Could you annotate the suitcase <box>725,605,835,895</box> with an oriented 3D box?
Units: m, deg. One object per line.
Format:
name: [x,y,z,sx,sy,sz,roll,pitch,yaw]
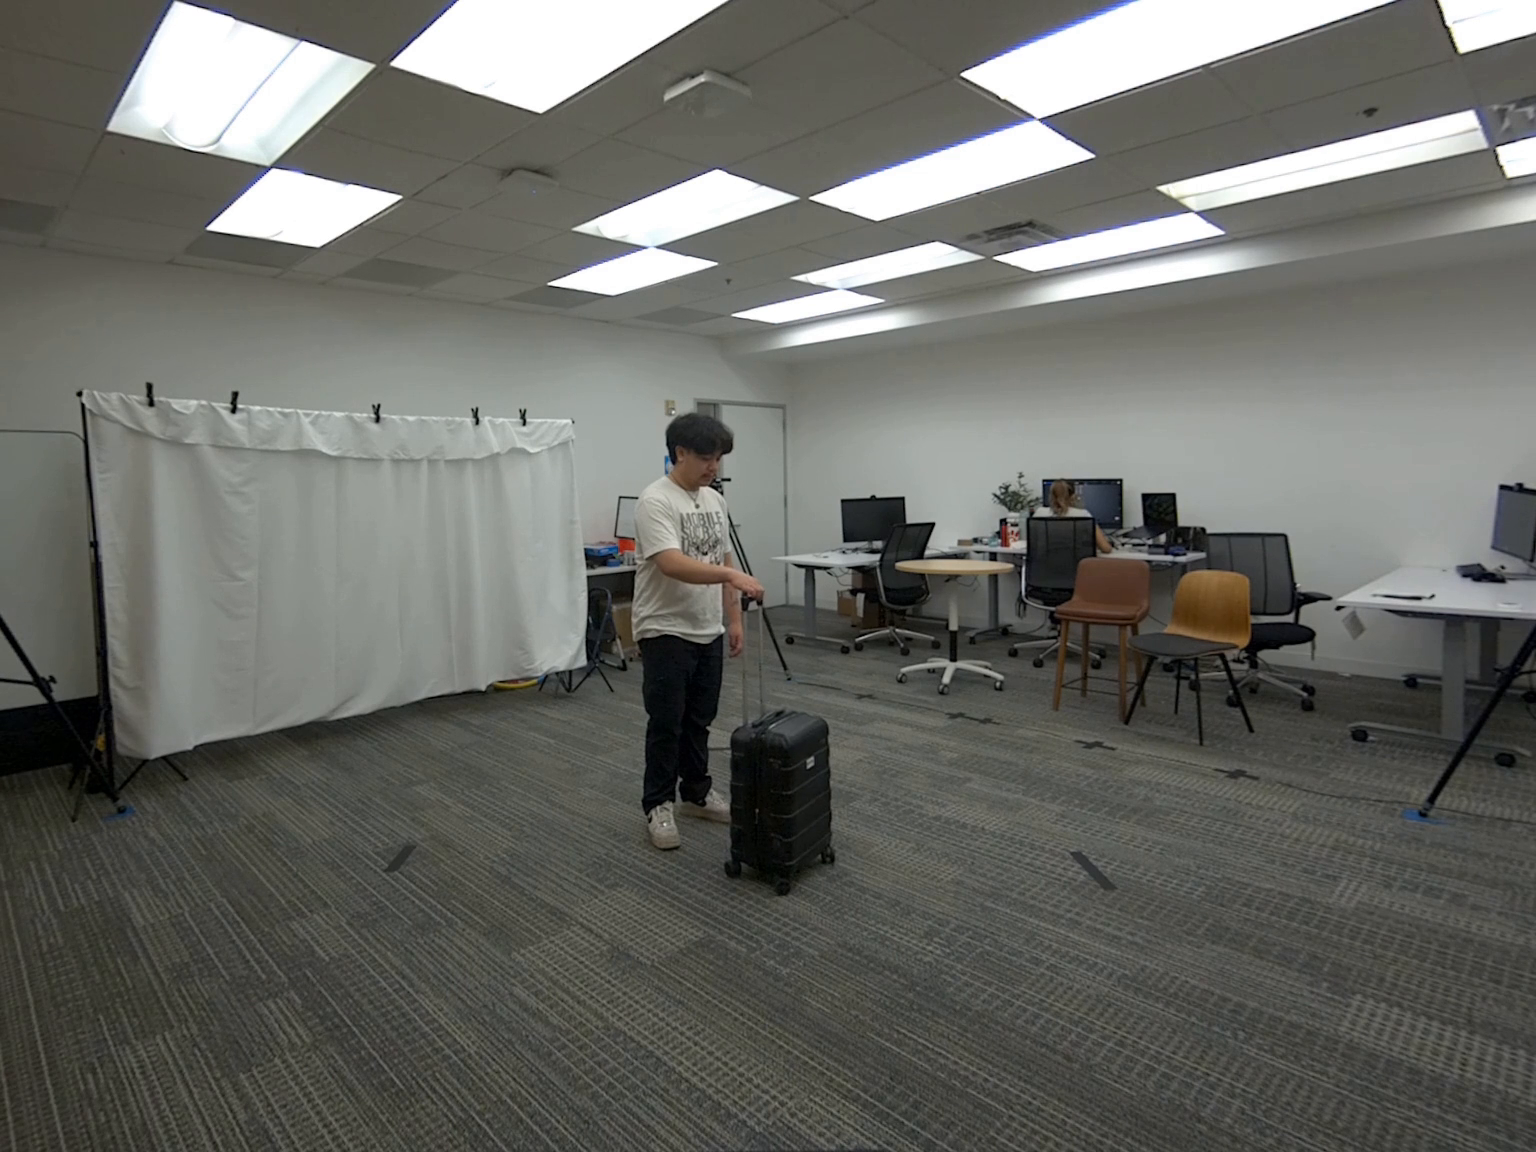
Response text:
suitcase: [0.053,0.575,3.028,0.264,0.975,0.375,2,4,32]
